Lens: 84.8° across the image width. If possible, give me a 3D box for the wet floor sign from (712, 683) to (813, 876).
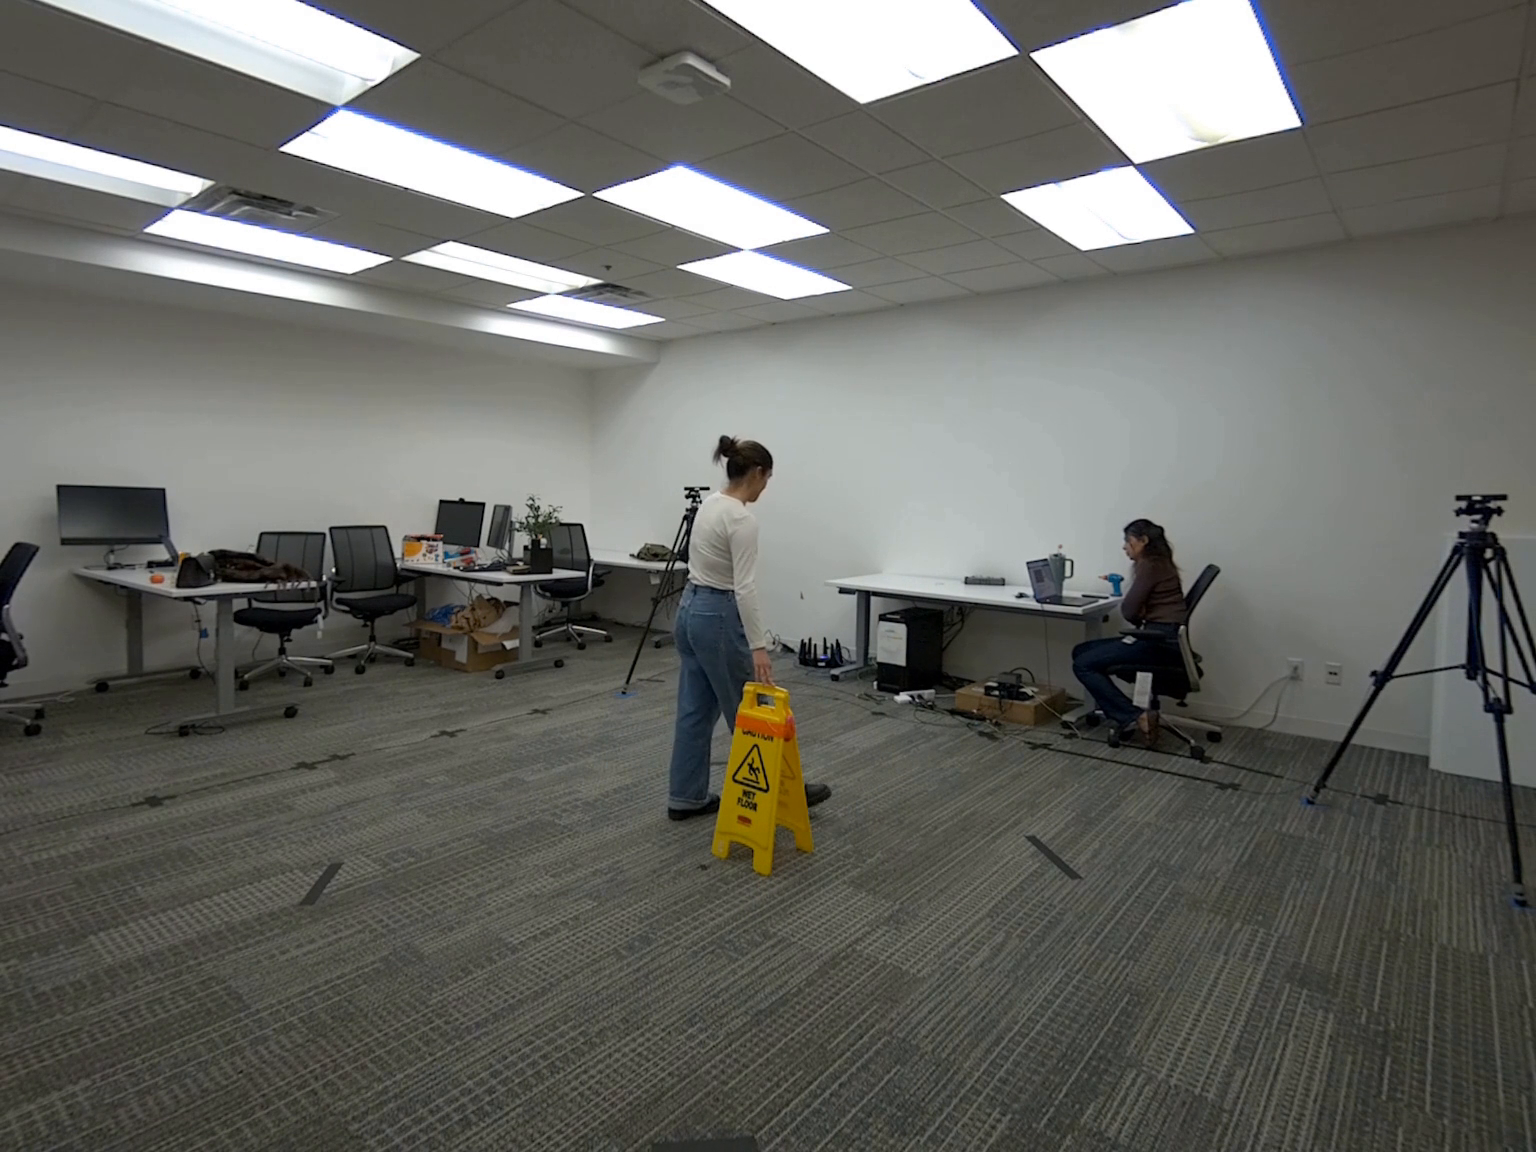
[{"bbox_3d":[-0.018,0.731,3.235,0.292,0.644,0.281,4,4,39],"label":"wet floor sign"}]
